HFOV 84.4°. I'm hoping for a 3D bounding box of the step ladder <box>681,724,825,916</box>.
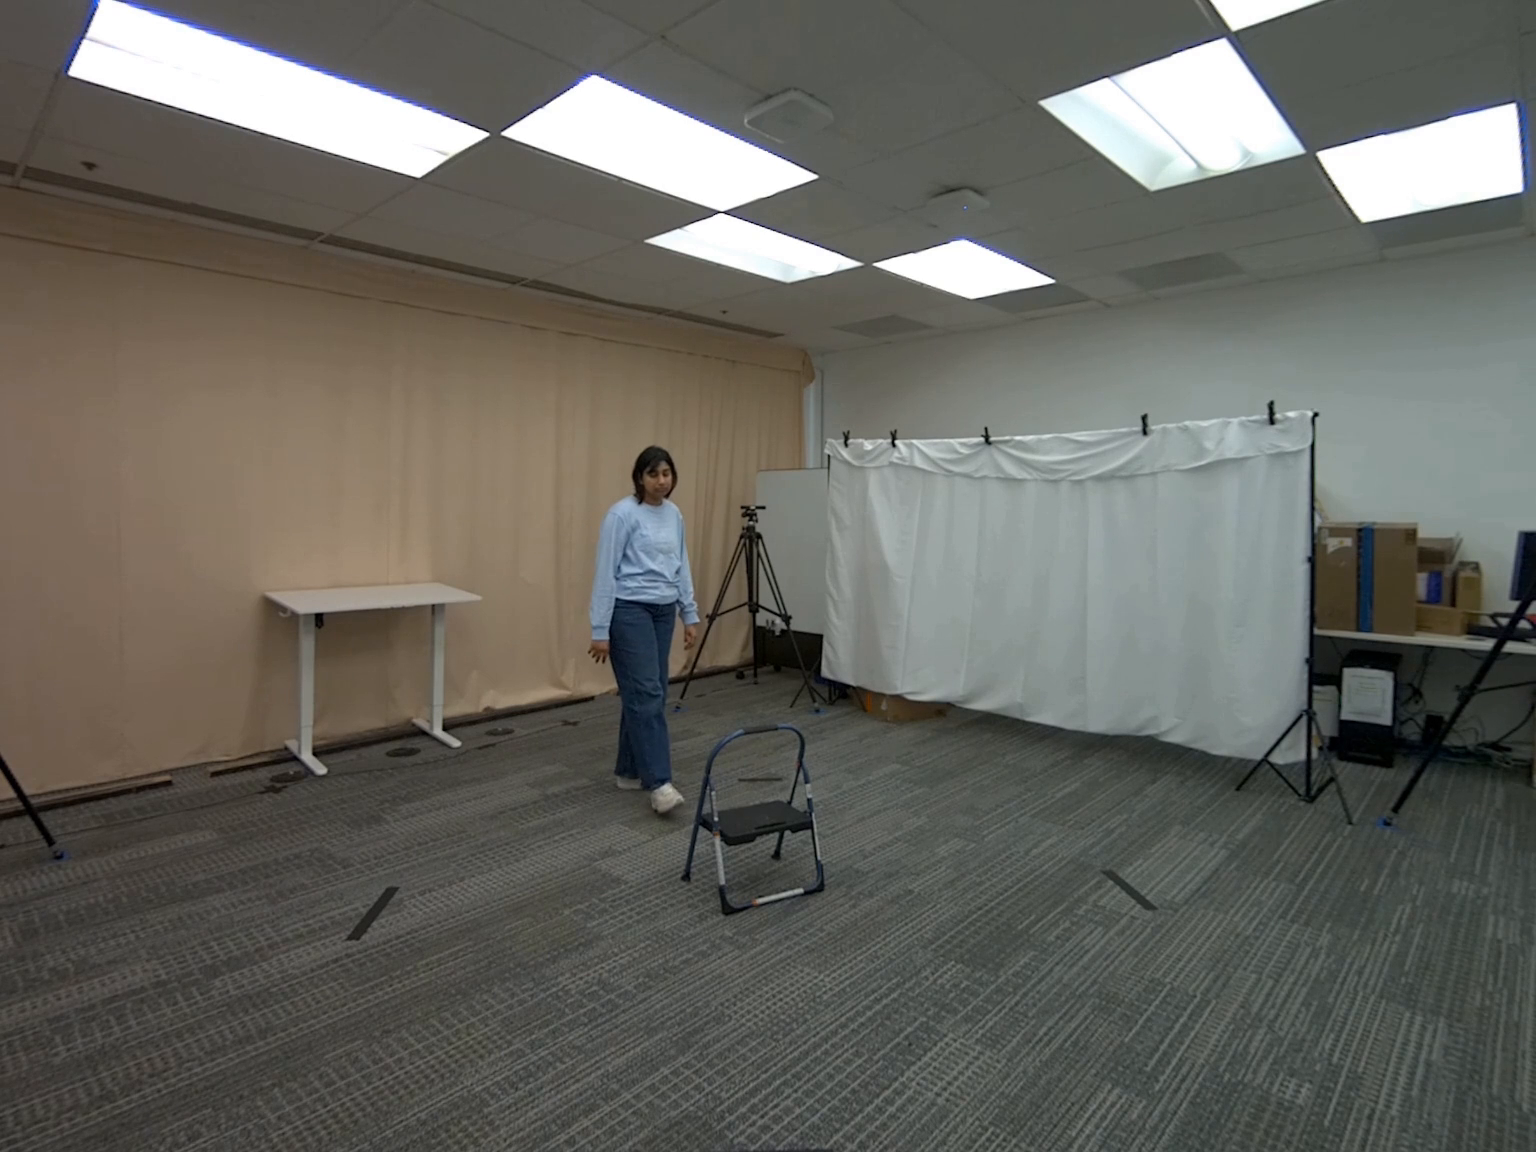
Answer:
[{"bbox_3d":[-0.056,0.832,3.082,0.419,0.605,0.359,-3,4,-30],"label":"step ladder"}]
